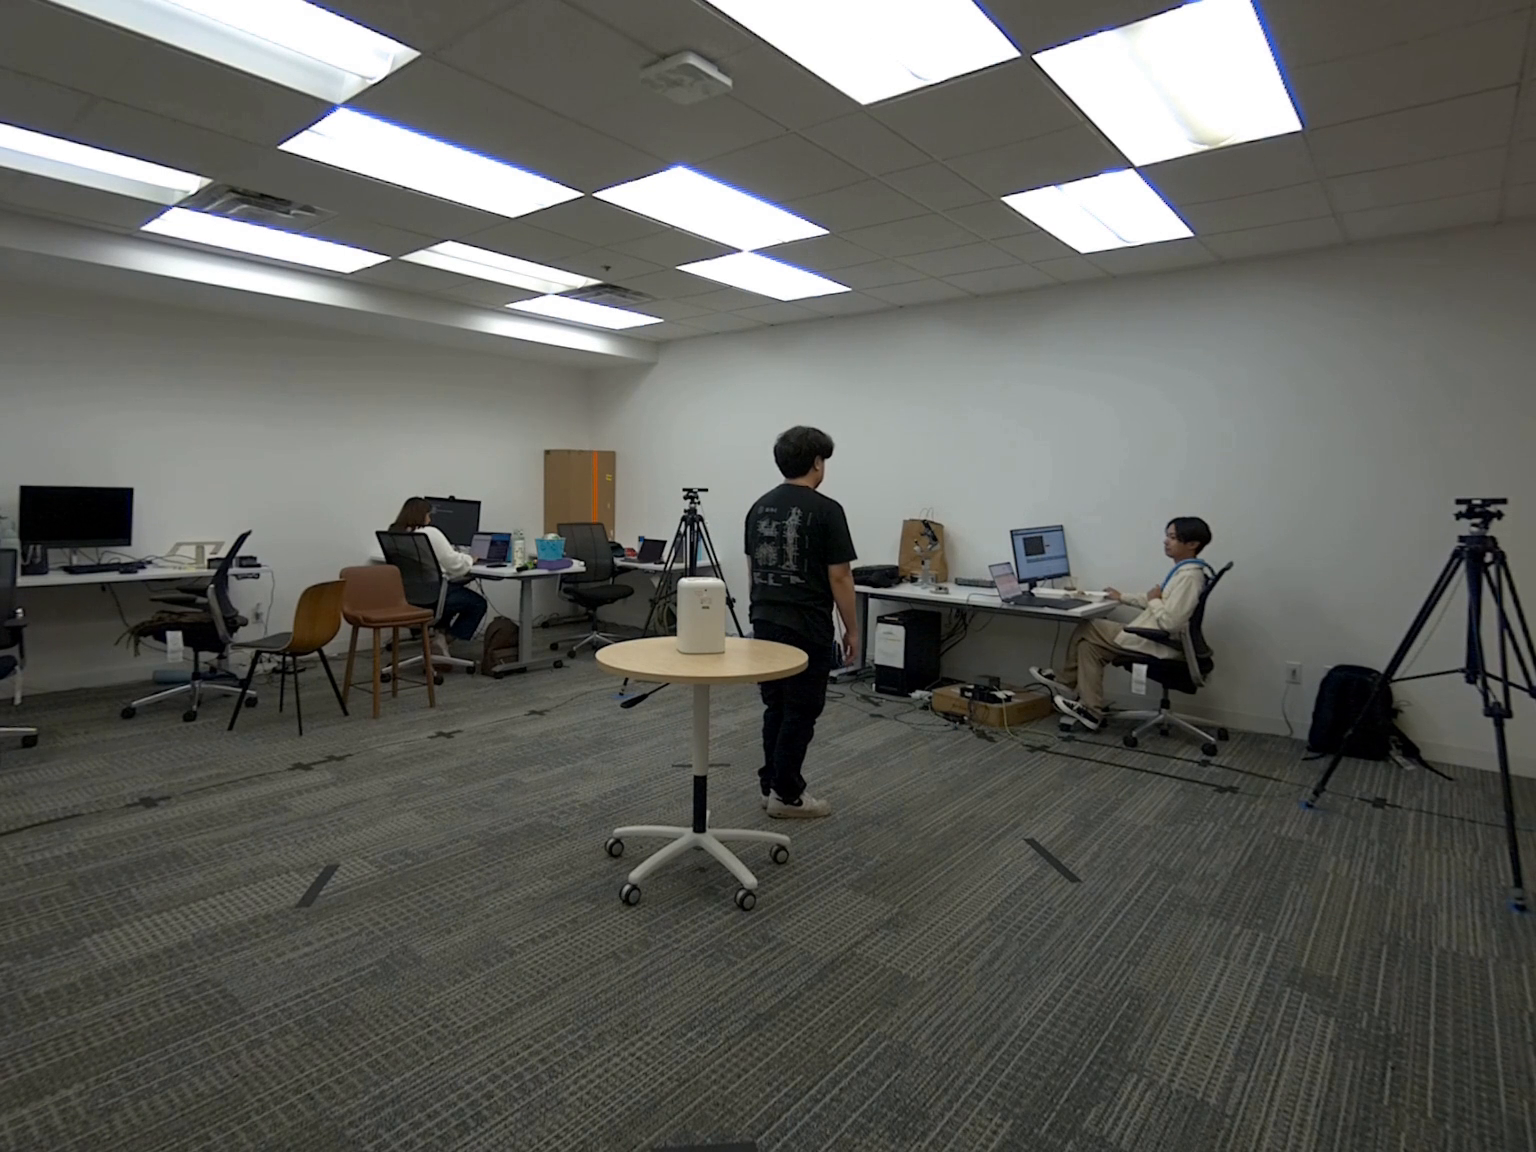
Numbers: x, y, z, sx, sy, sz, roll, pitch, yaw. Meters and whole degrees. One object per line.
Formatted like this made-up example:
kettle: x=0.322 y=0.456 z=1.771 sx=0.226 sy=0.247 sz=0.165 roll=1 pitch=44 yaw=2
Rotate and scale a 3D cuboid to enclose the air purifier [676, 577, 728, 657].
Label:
air purifier: x=-0.257 y=0.142 z=3.141 sx=0.169 sy=0.265 sz=0.174 roll=0 pitch=2 yaw=-12
